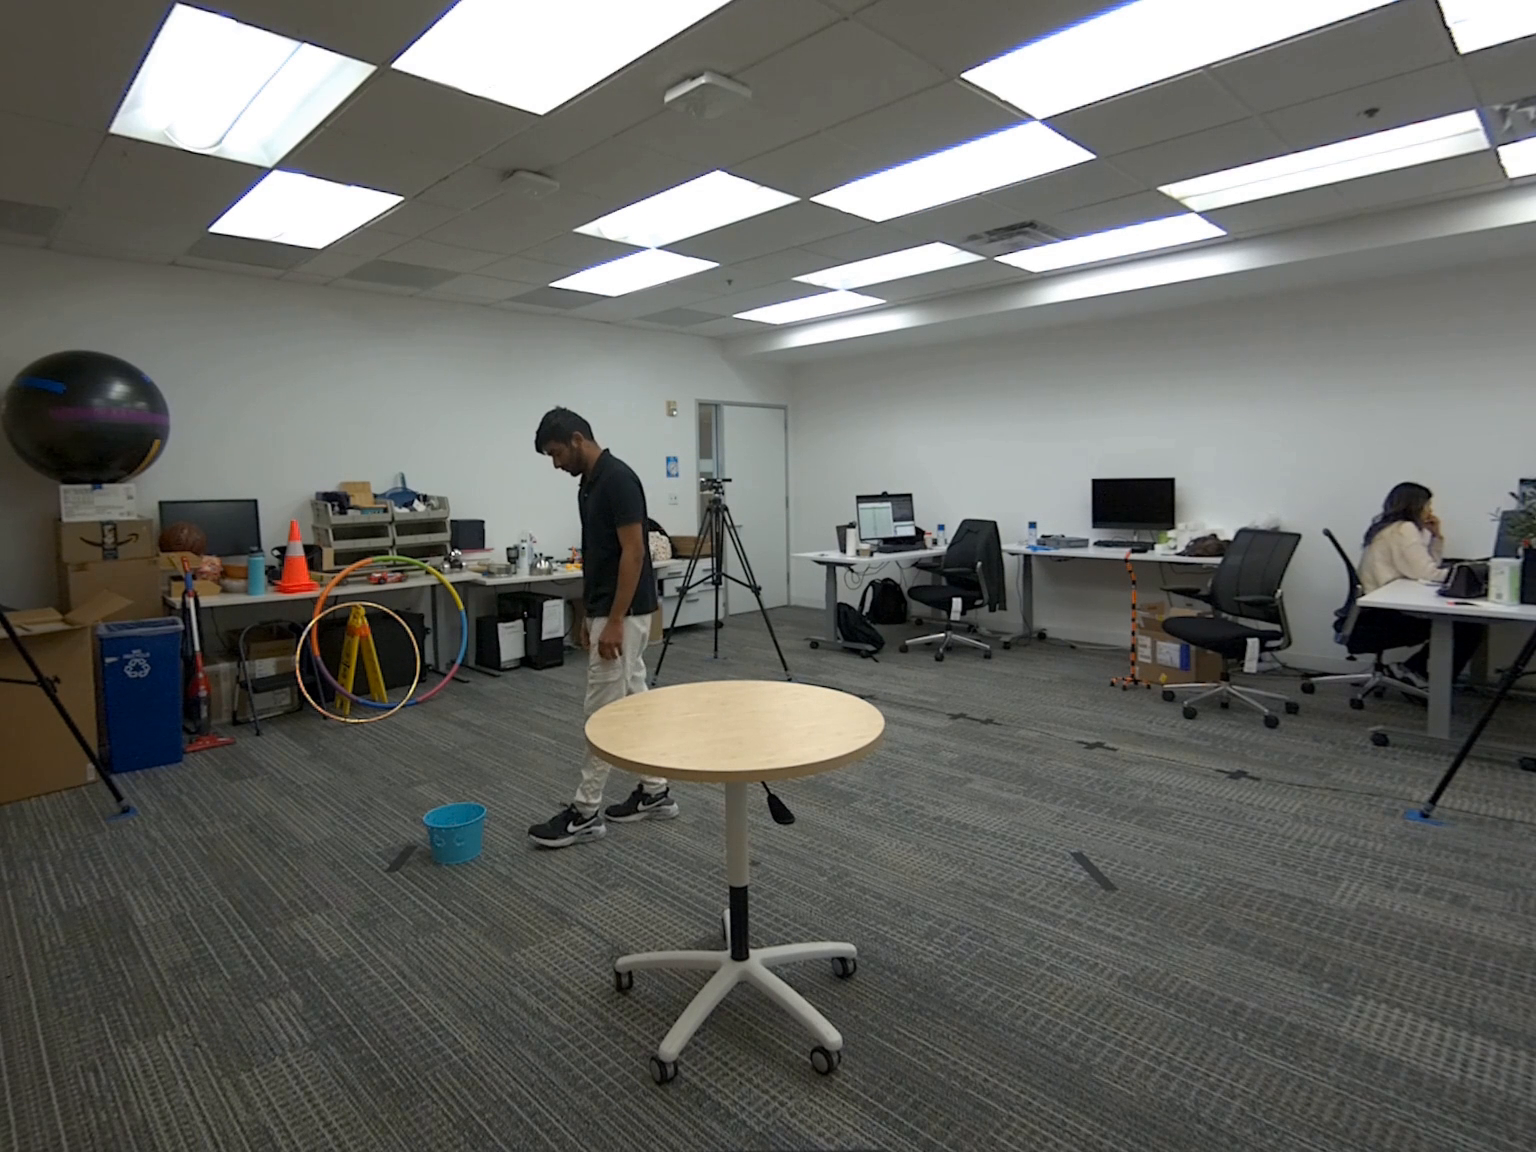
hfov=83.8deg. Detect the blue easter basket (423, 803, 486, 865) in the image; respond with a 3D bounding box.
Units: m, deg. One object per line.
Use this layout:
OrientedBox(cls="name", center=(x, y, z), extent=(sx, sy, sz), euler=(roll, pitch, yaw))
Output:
OrientedBox(cls="blue easter basket", center=(-1.170, 0.972, 3.240), extent=(0.243, 0.155, 0.245), euler=(-2, 6, -2))
